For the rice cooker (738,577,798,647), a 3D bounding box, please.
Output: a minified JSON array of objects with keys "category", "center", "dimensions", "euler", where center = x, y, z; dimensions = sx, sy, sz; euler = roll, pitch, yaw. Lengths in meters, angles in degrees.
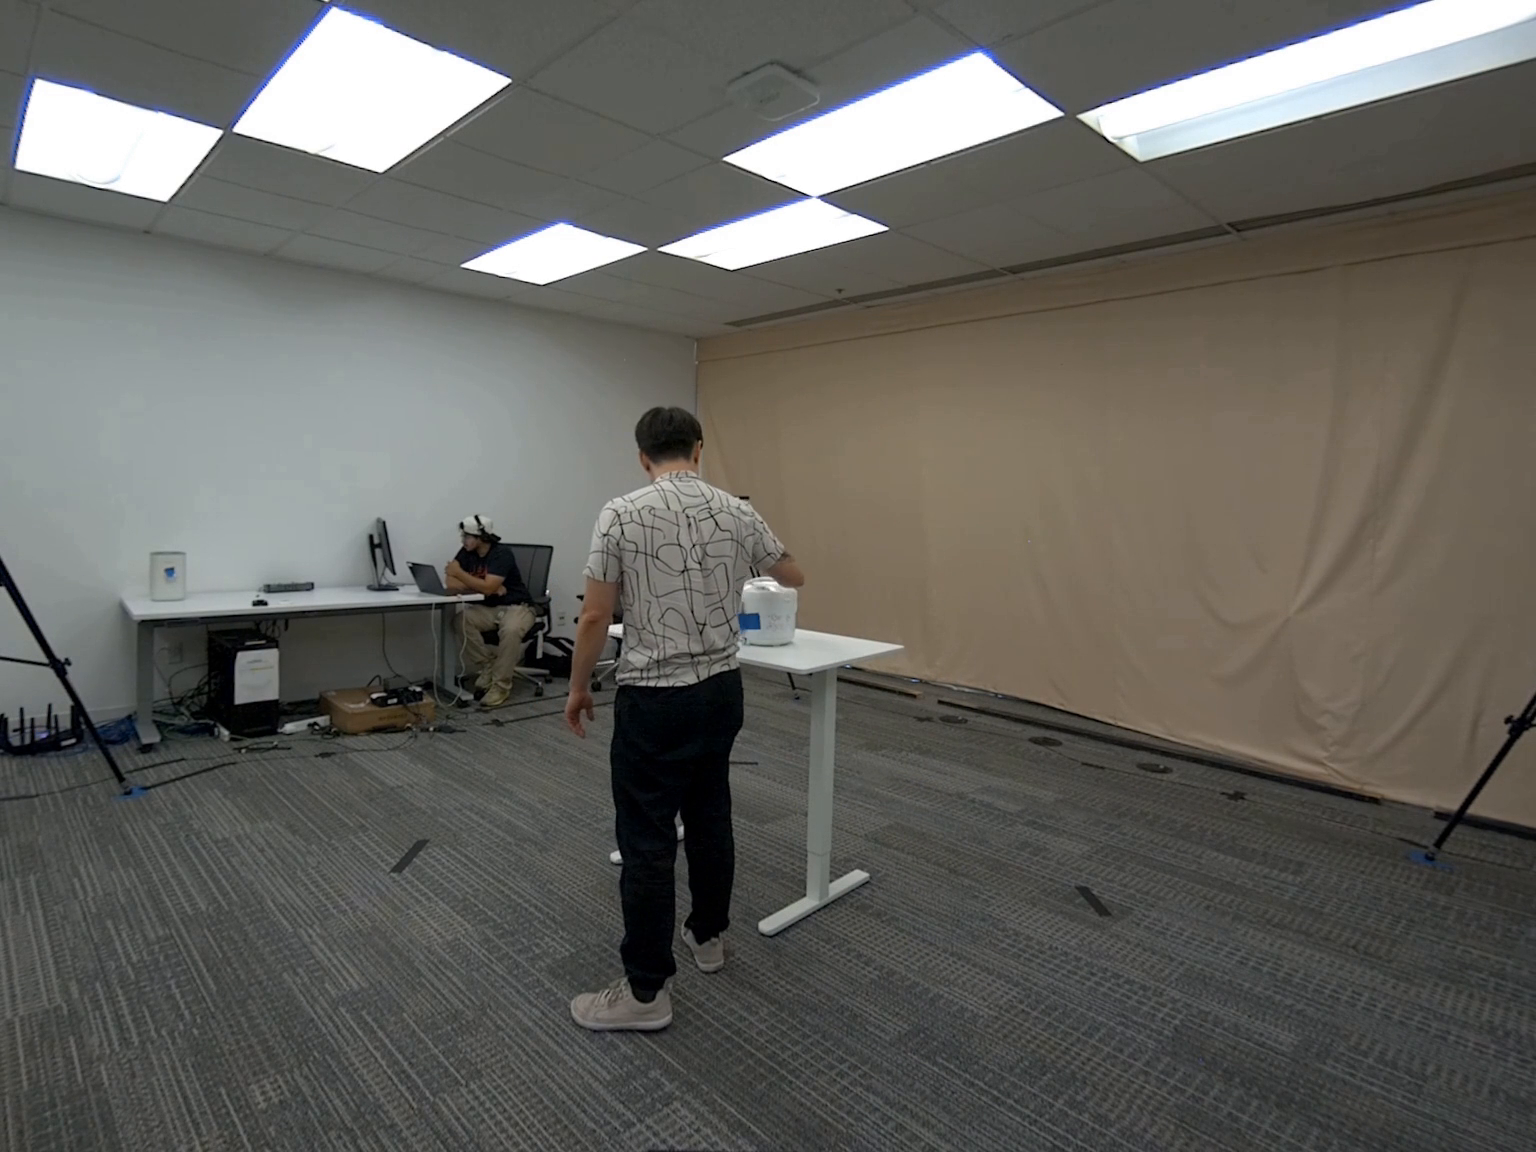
[{"category":"rice cooker","center":[-0.013,0.121,2.979],"dimensions":[0.223,0.232,0.216],"euler":[3,5,10]}]
